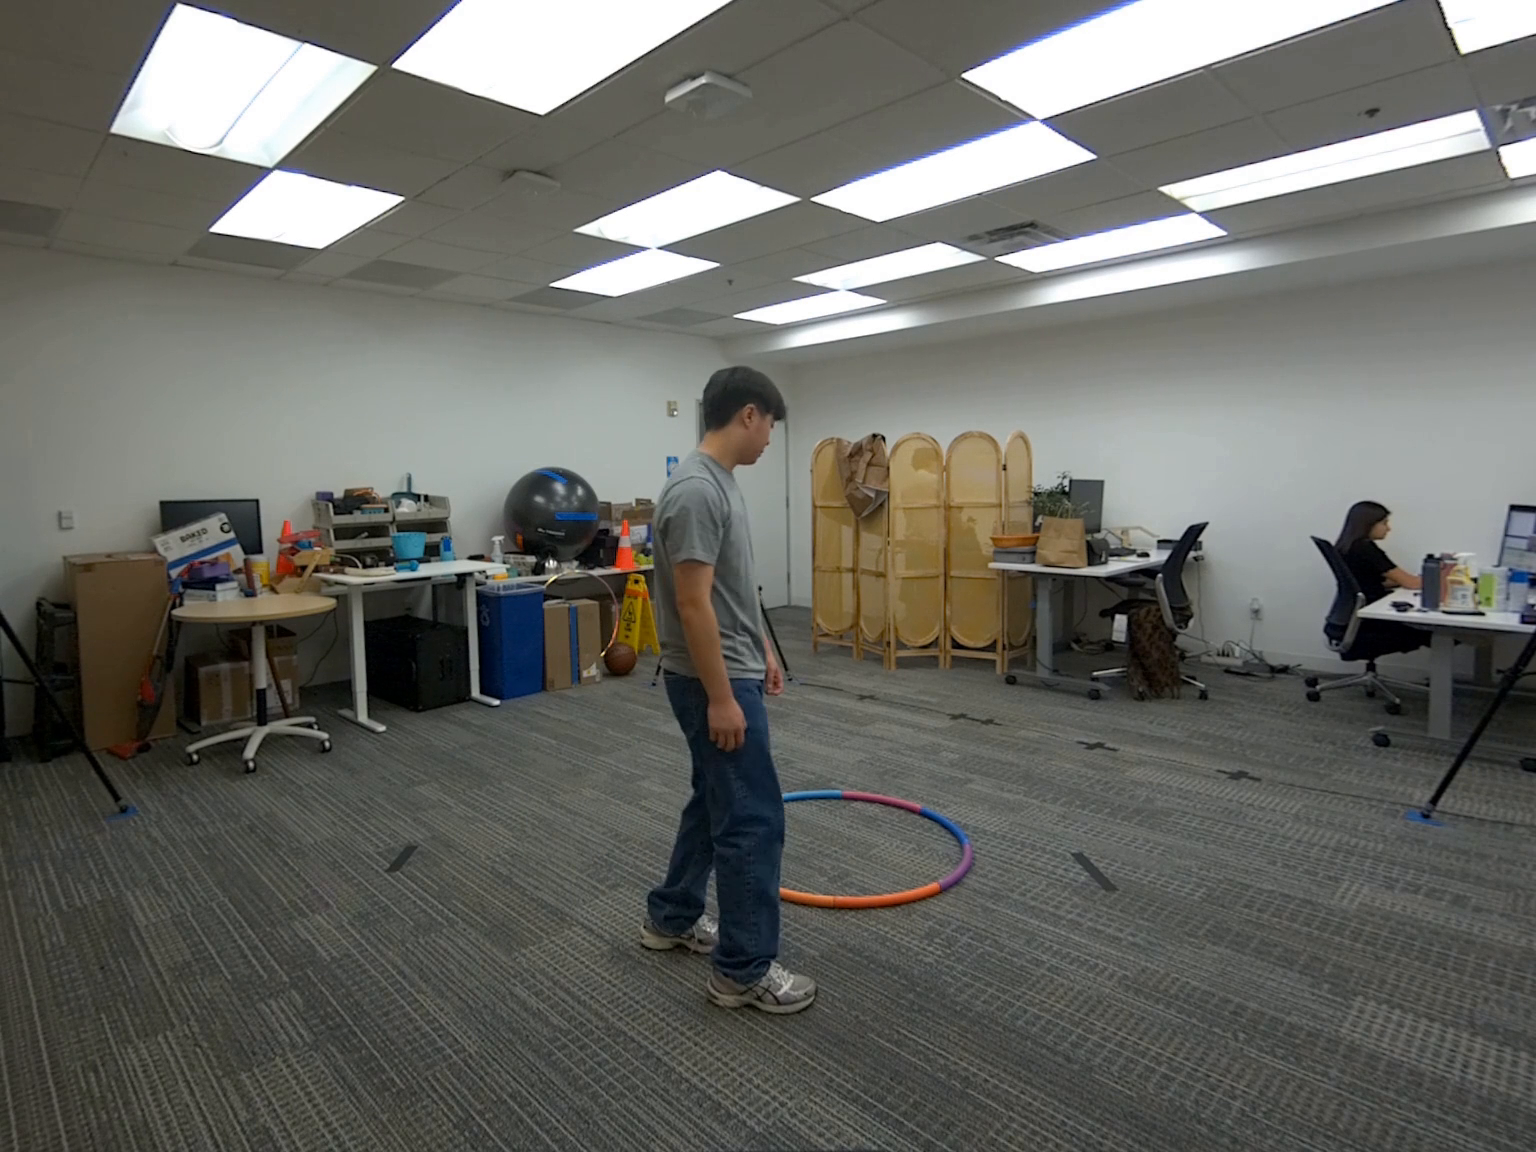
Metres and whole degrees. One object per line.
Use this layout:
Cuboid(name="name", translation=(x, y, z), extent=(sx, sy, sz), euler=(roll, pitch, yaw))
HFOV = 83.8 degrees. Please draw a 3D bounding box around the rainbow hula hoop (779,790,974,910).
Cuboid(name="rainbow hula hoop", translation=(0.257, 0.992, 3.249), extent=(0.978, 0.035, 0.984), euler=(-1, 7, -2))
